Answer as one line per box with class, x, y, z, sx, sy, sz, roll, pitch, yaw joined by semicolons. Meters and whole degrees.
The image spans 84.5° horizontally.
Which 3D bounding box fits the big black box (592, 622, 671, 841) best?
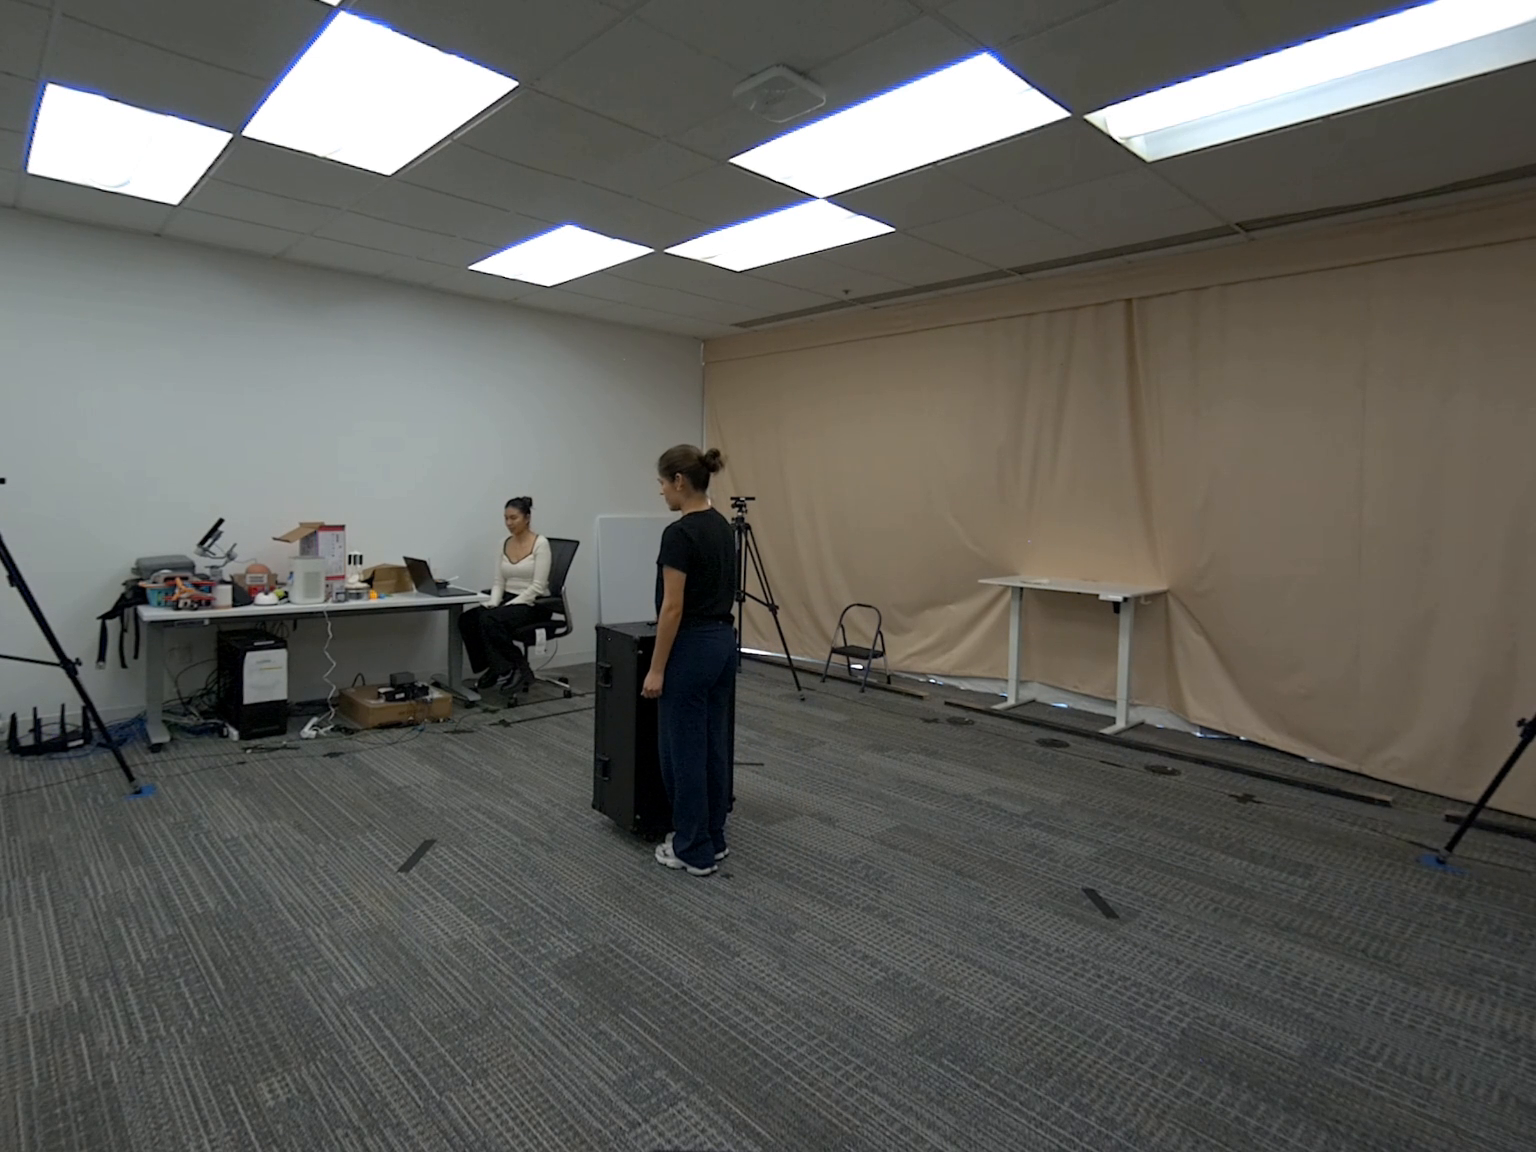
big black box;-0.434;0.579;3.515;0.509;0.859;0.406;-1;4;-37
